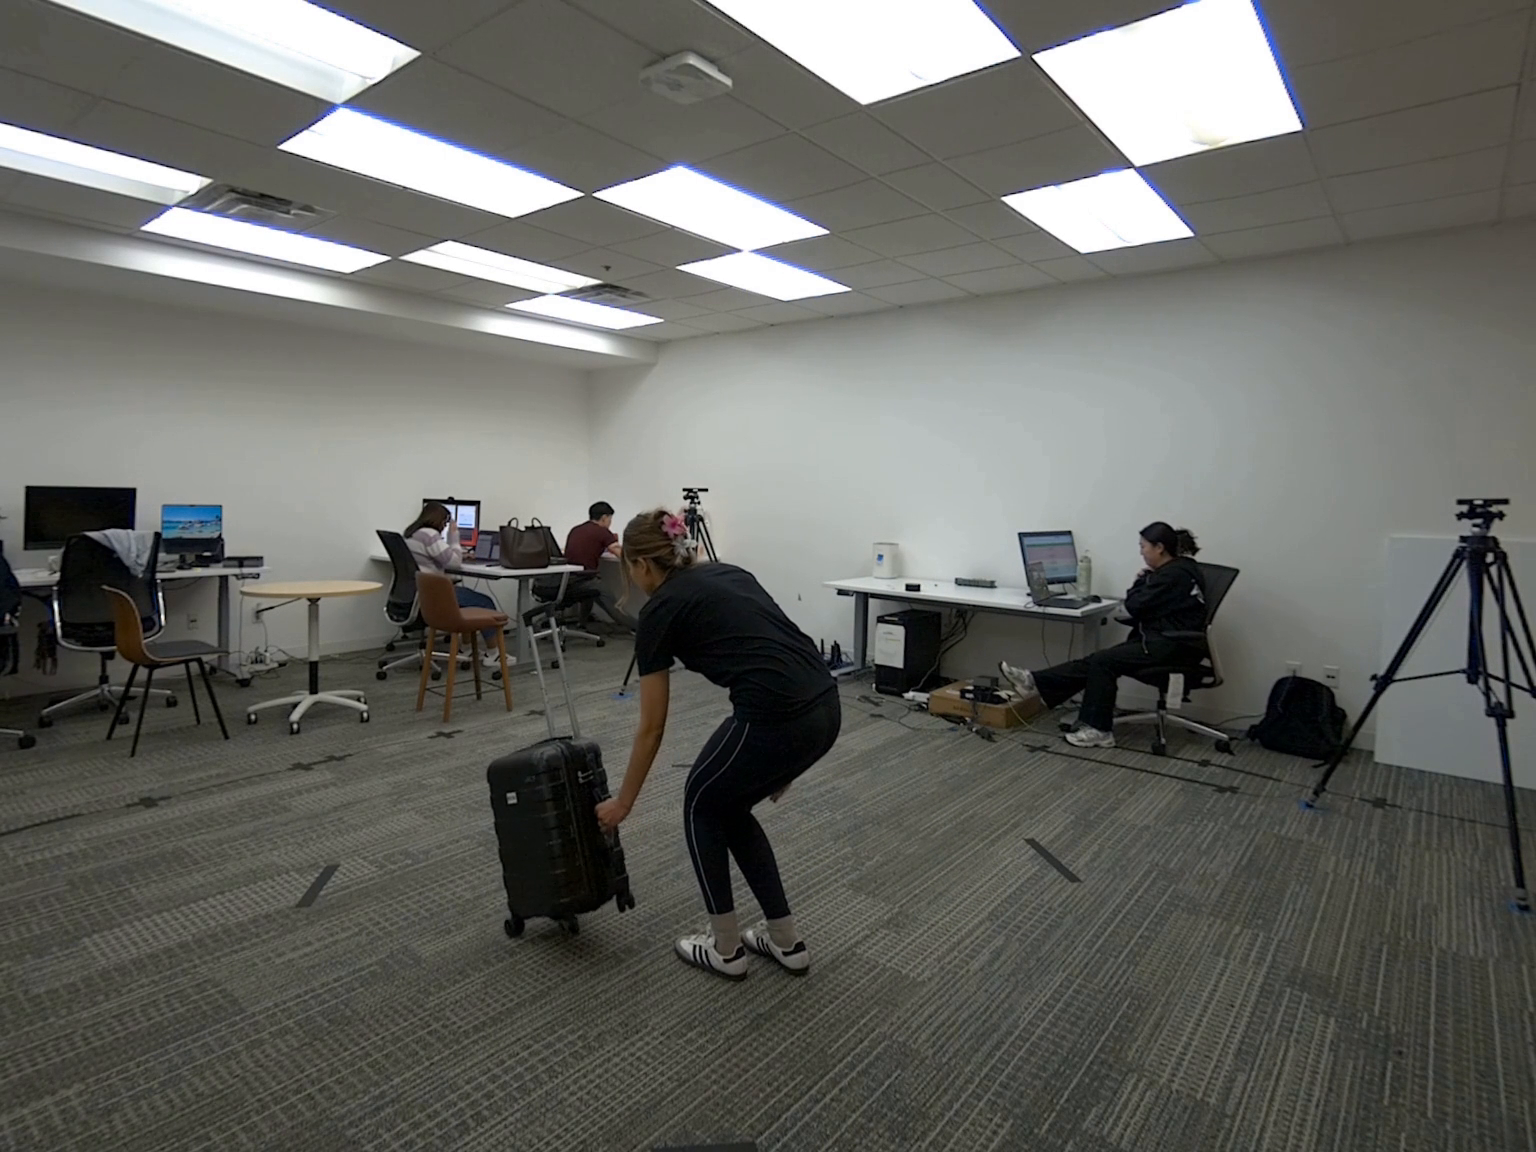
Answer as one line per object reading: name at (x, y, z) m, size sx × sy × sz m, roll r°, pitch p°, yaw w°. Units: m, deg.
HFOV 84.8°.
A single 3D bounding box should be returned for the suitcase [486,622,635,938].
suitcase at (-0.724, 0.599, 2.670) m, size 0.391 × 0.989 × 0.250 m, roll -22°, pitch -11°, yaw 41°
